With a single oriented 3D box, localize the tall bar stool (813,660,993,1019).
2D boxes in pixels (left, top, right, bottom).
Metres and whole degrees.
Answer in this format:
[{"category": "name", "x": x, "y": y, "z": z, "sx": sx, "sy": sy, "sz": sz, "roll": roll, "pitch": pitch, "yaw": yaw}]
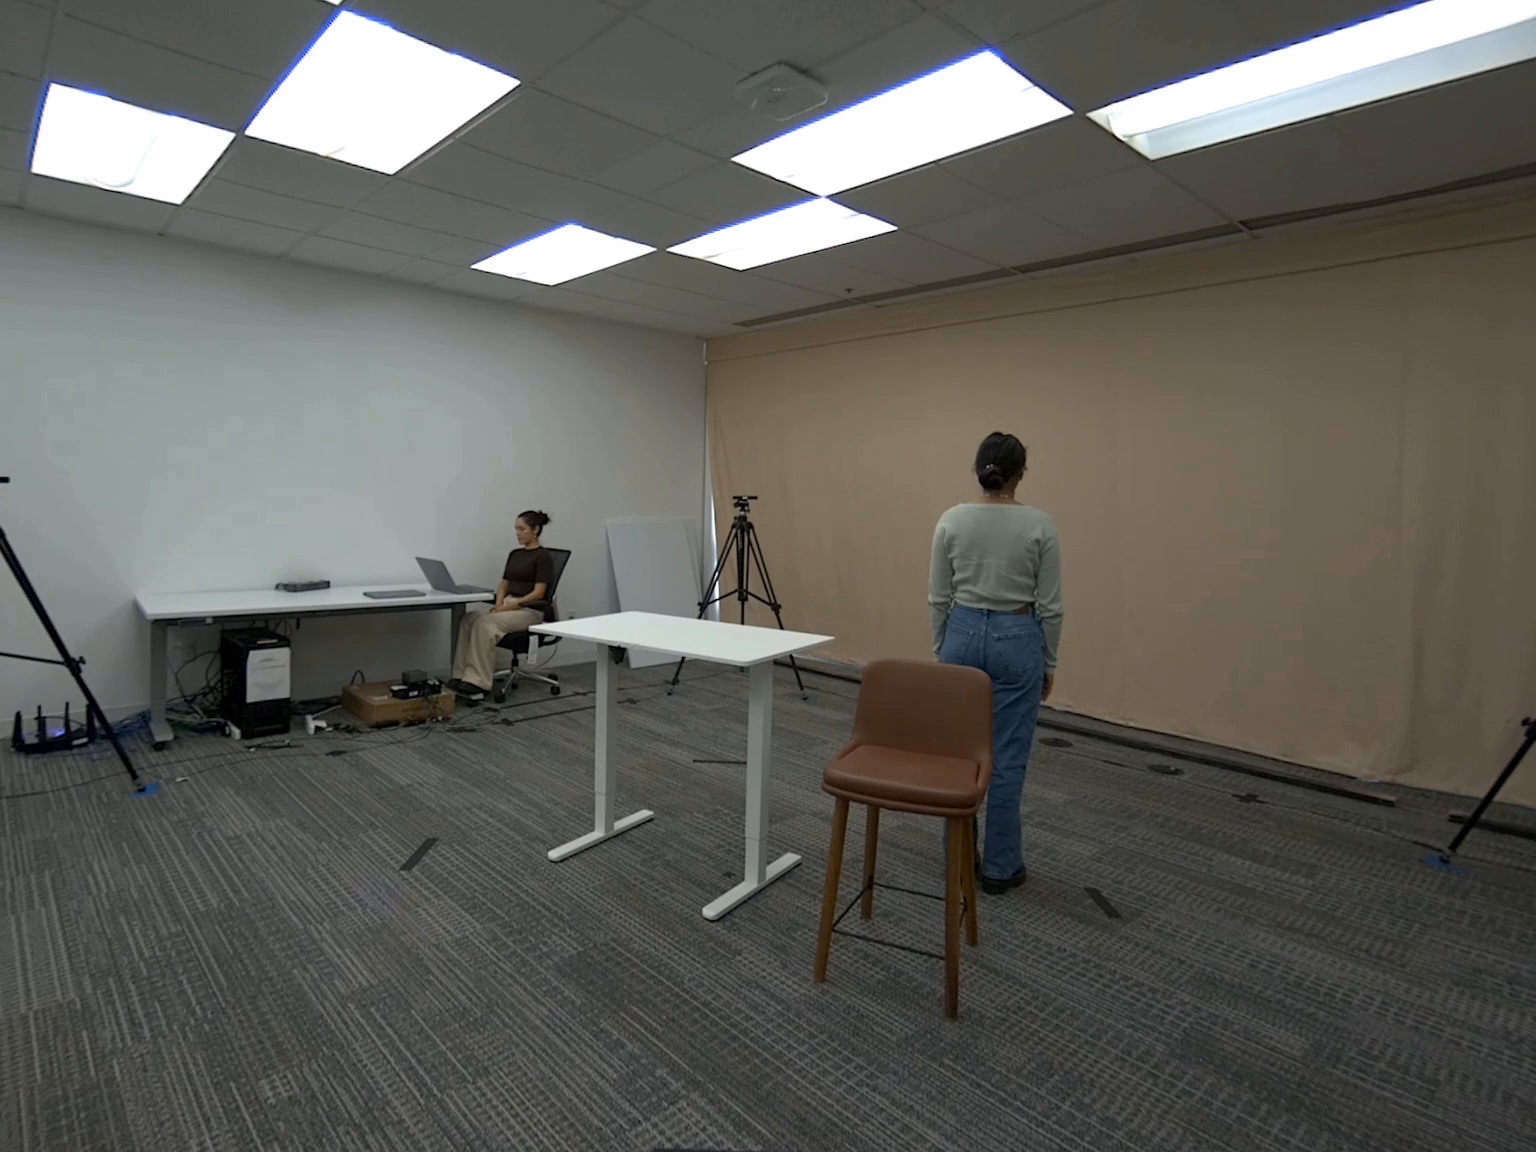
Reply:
[{"category": "tall bar stool", "x": 0.419, "y": 0.736, "z": 2.524, "sx": 0.465, "sy": 0.888, "sz": 0.459, "roll": 3, "pitch": 2, "yaw": 25}]
